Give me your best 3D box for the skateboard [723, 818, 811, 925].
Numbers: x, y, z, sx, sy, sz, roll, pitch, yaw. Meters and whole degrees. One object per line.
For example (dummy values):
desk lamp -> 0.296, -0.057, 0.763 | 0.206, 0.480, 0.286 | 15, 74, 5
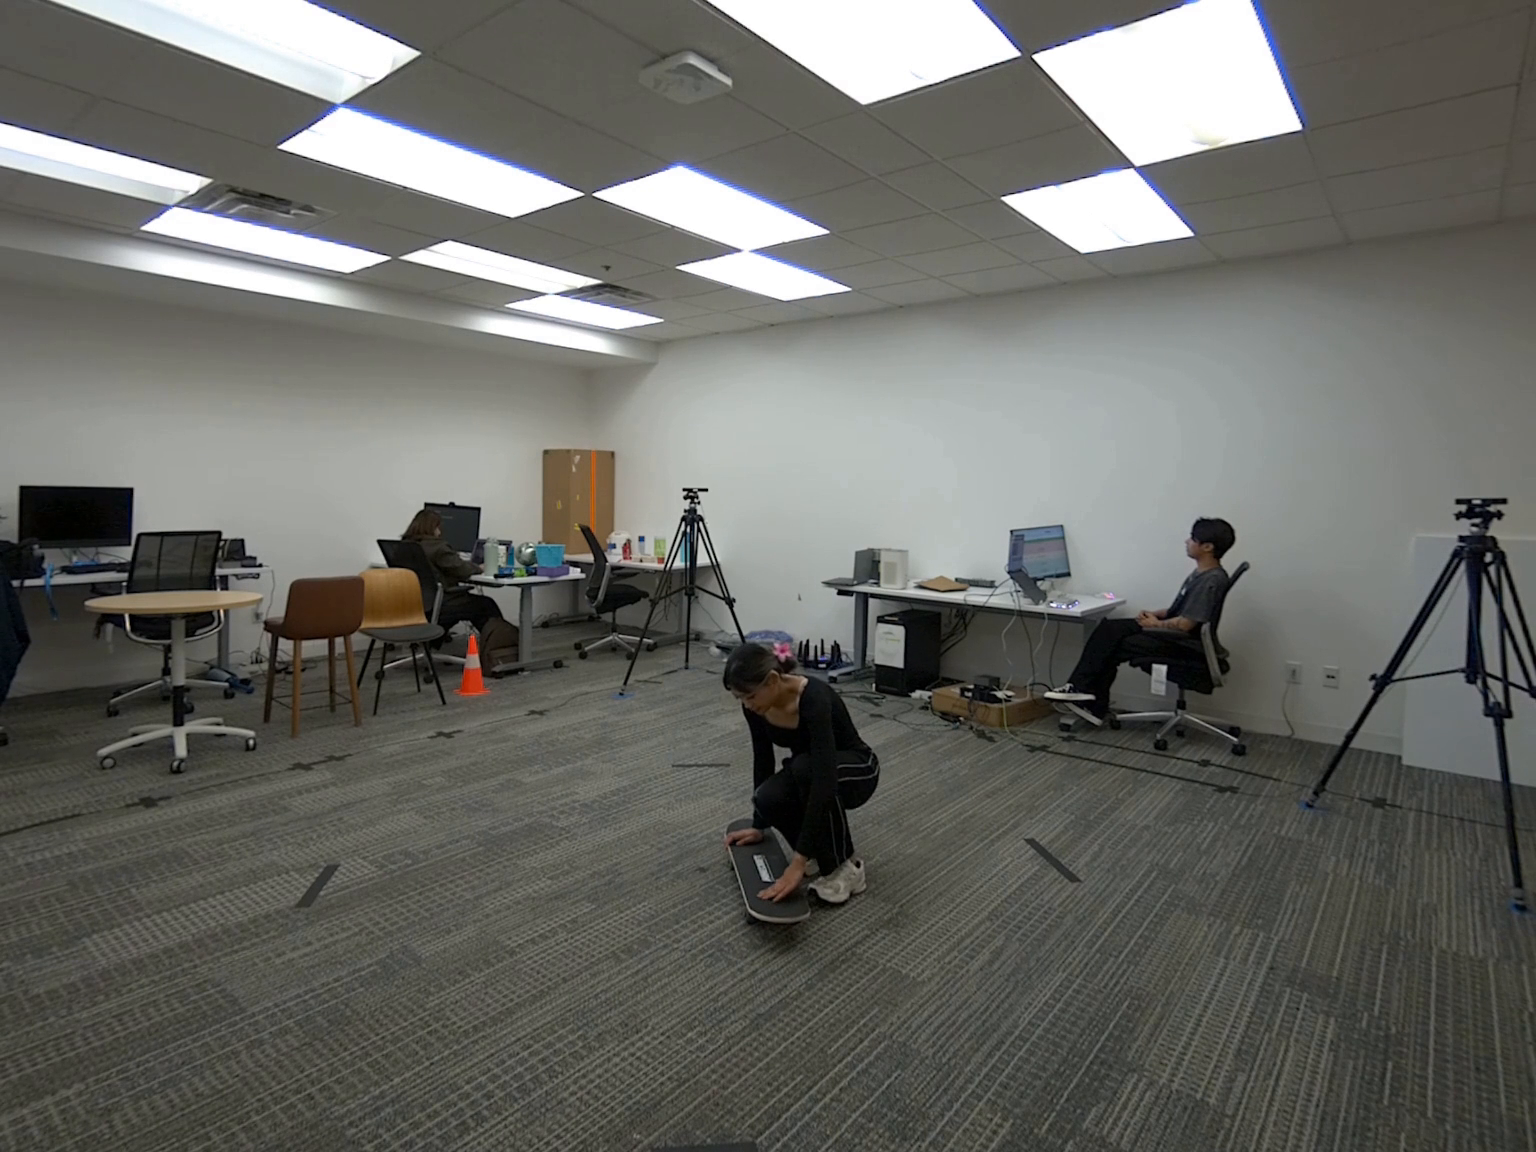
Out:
skateboard -> -0.028, 1.033, 2.929 | 0.191, 0.110, 0.796 | 1, 5, -11
